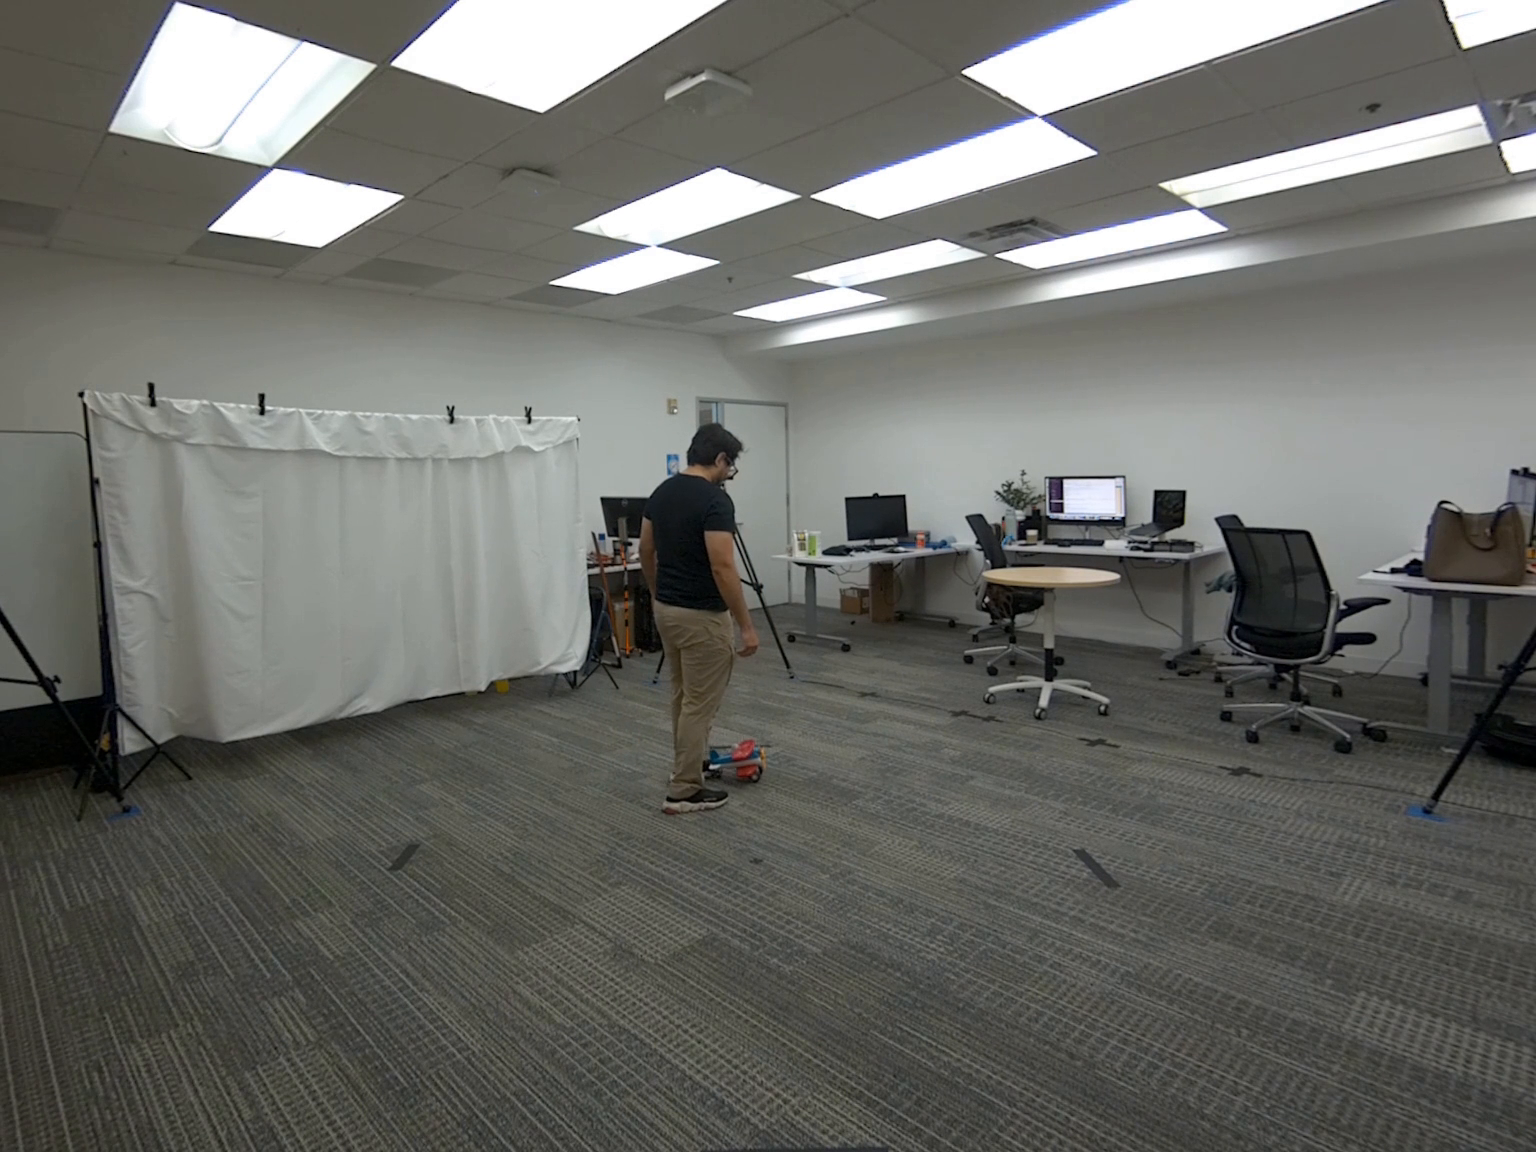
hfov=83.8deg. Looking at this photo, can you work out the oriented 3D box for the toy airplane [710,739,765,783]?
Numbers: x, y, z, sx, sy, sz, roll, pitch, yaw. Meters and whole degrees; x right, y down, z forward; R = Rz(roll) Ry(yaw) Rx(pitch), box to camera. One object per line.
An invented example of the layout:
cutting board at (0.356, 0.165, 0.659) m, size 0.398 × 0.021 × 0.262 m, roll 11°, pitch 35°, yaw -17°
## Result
toy airplane at (-0.145, 0.863, 3.943) m, size 0.255 × 0.156 × 0.256 m, roll -2°, pitch 6°, yaw -18°
